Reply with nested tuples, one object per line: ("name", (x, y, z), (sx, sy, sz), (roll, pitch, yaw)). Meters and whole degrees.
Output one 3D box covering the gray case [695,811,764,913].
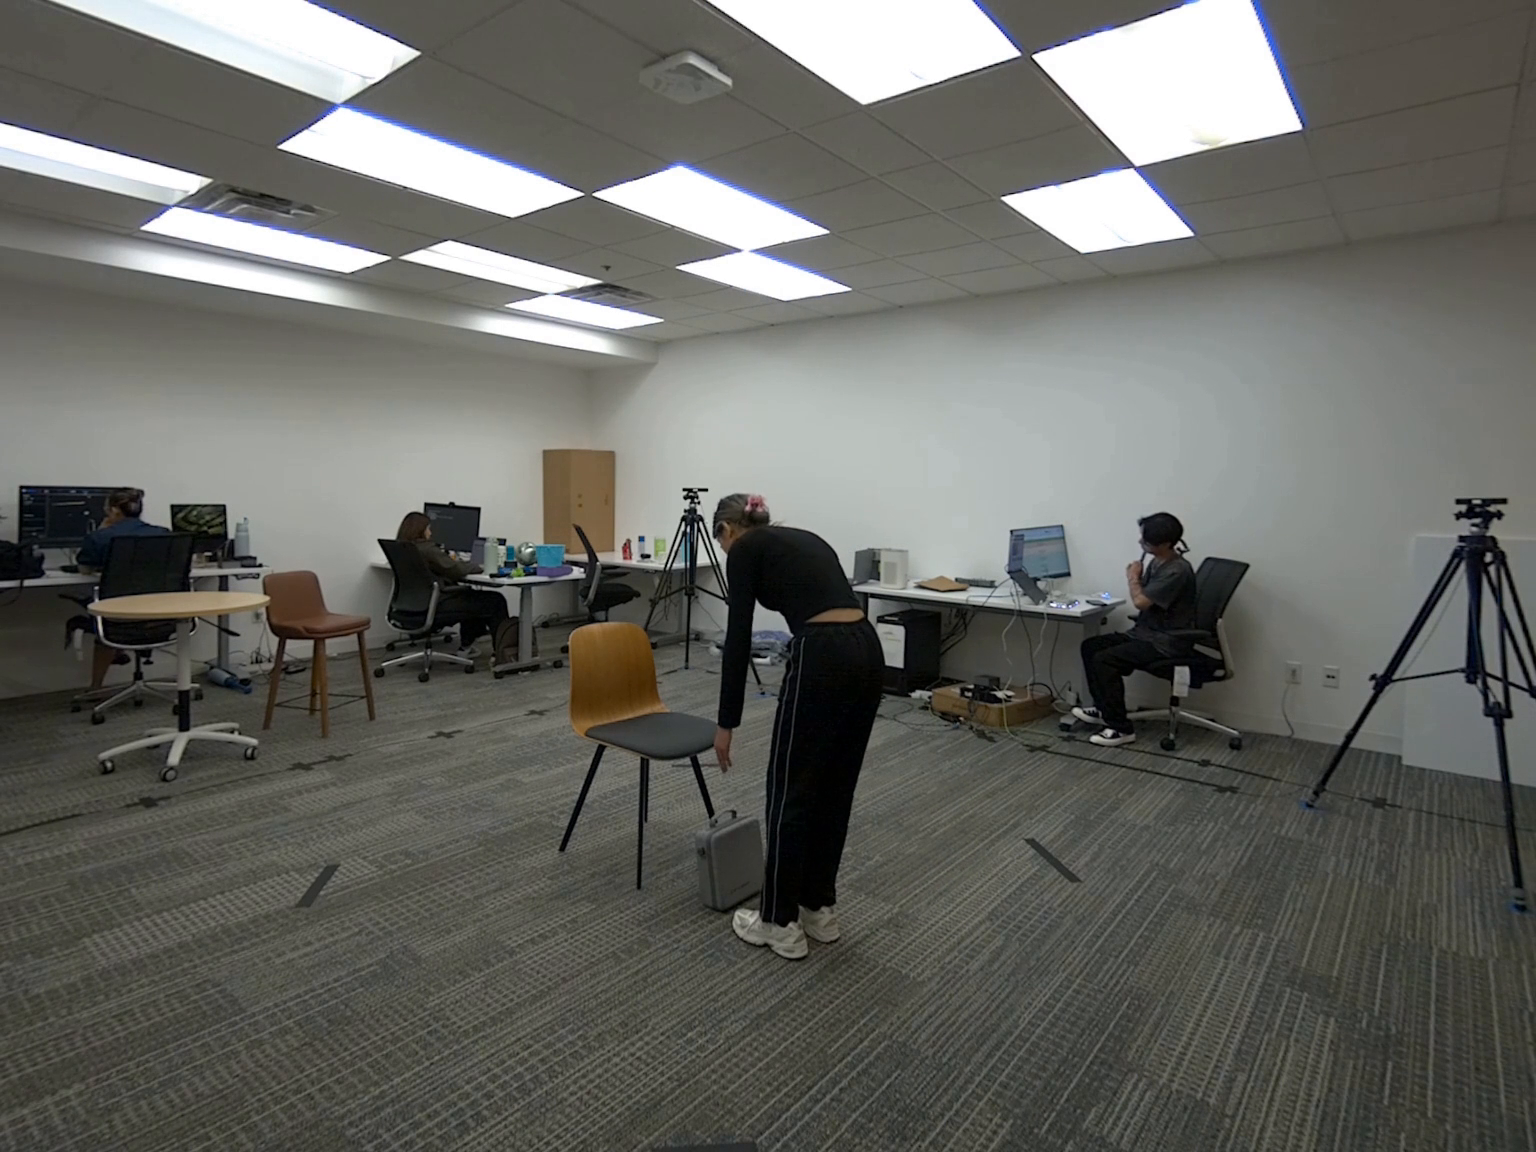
("gray case", (-0.137, 0.959, 2.894), (0.107, 0.262, 0.249), (-10, -5, 40))
